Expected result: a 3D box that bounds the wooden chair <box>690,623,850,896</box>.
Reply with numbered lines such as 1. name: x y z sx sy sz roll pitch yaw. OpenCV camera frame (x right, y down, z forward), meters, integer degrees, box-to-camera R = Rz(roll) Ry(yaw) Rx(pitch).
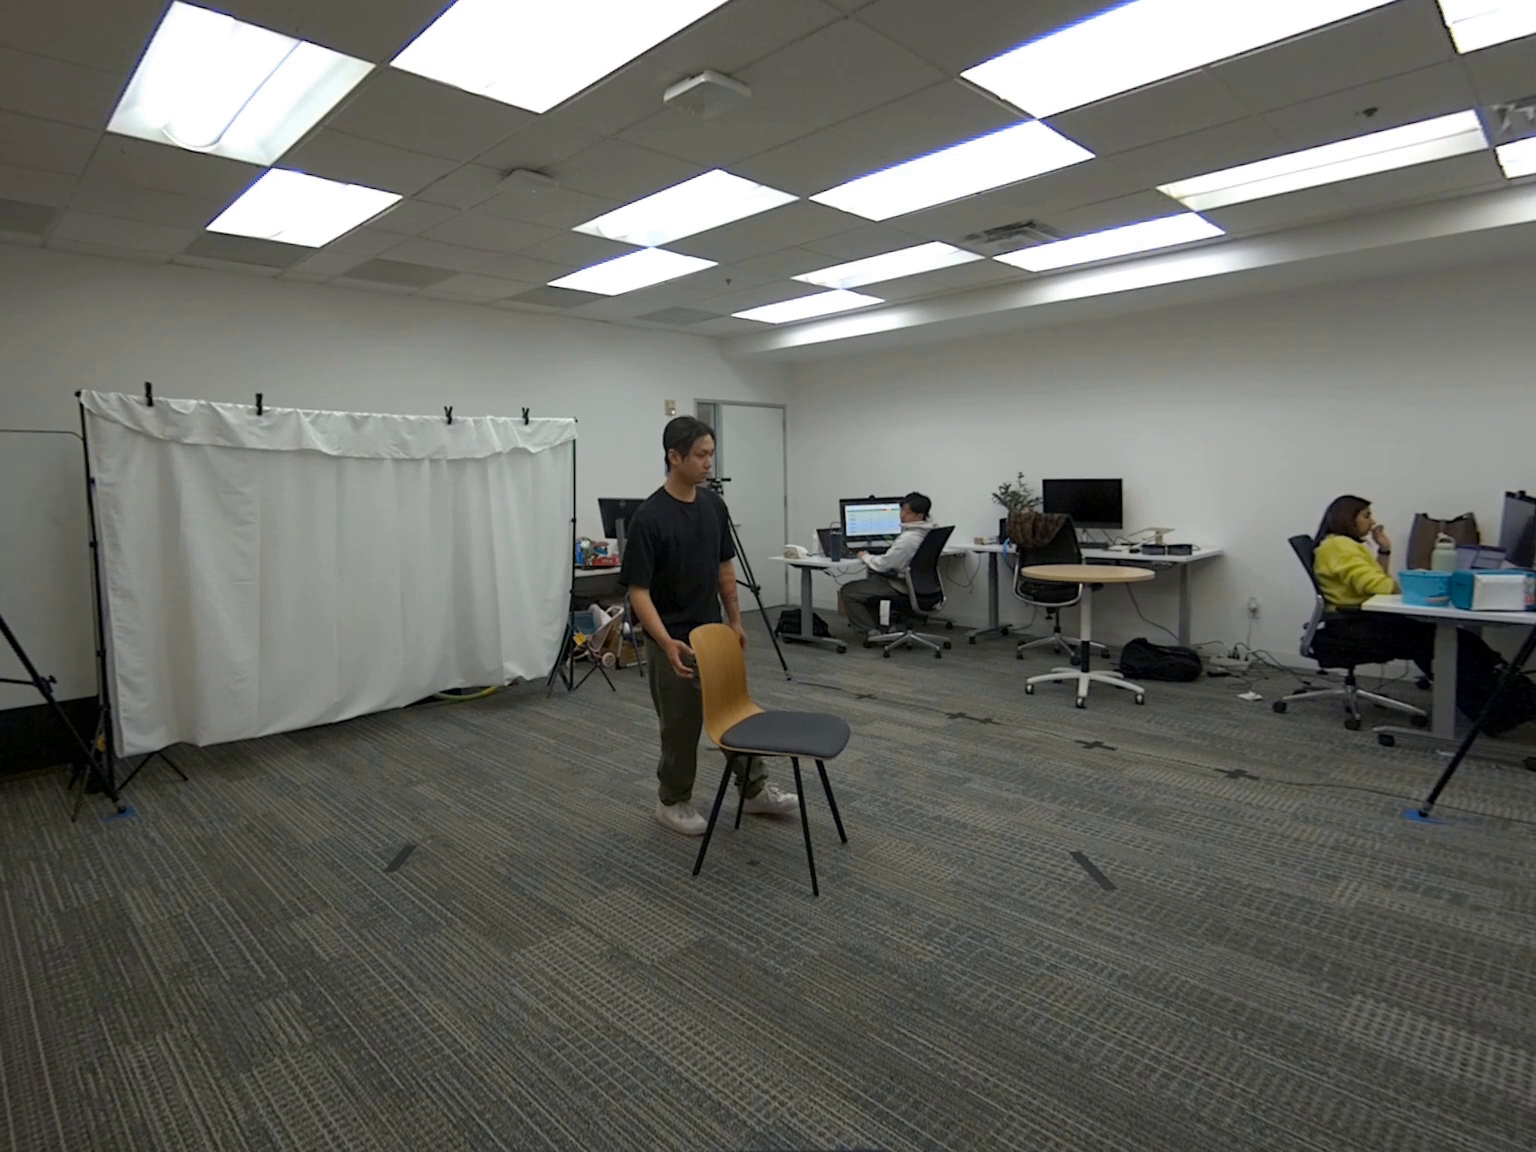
1. wooden chair: 0.022 0.613 3.098 0.533 0.875 0.471 -4 3 20
